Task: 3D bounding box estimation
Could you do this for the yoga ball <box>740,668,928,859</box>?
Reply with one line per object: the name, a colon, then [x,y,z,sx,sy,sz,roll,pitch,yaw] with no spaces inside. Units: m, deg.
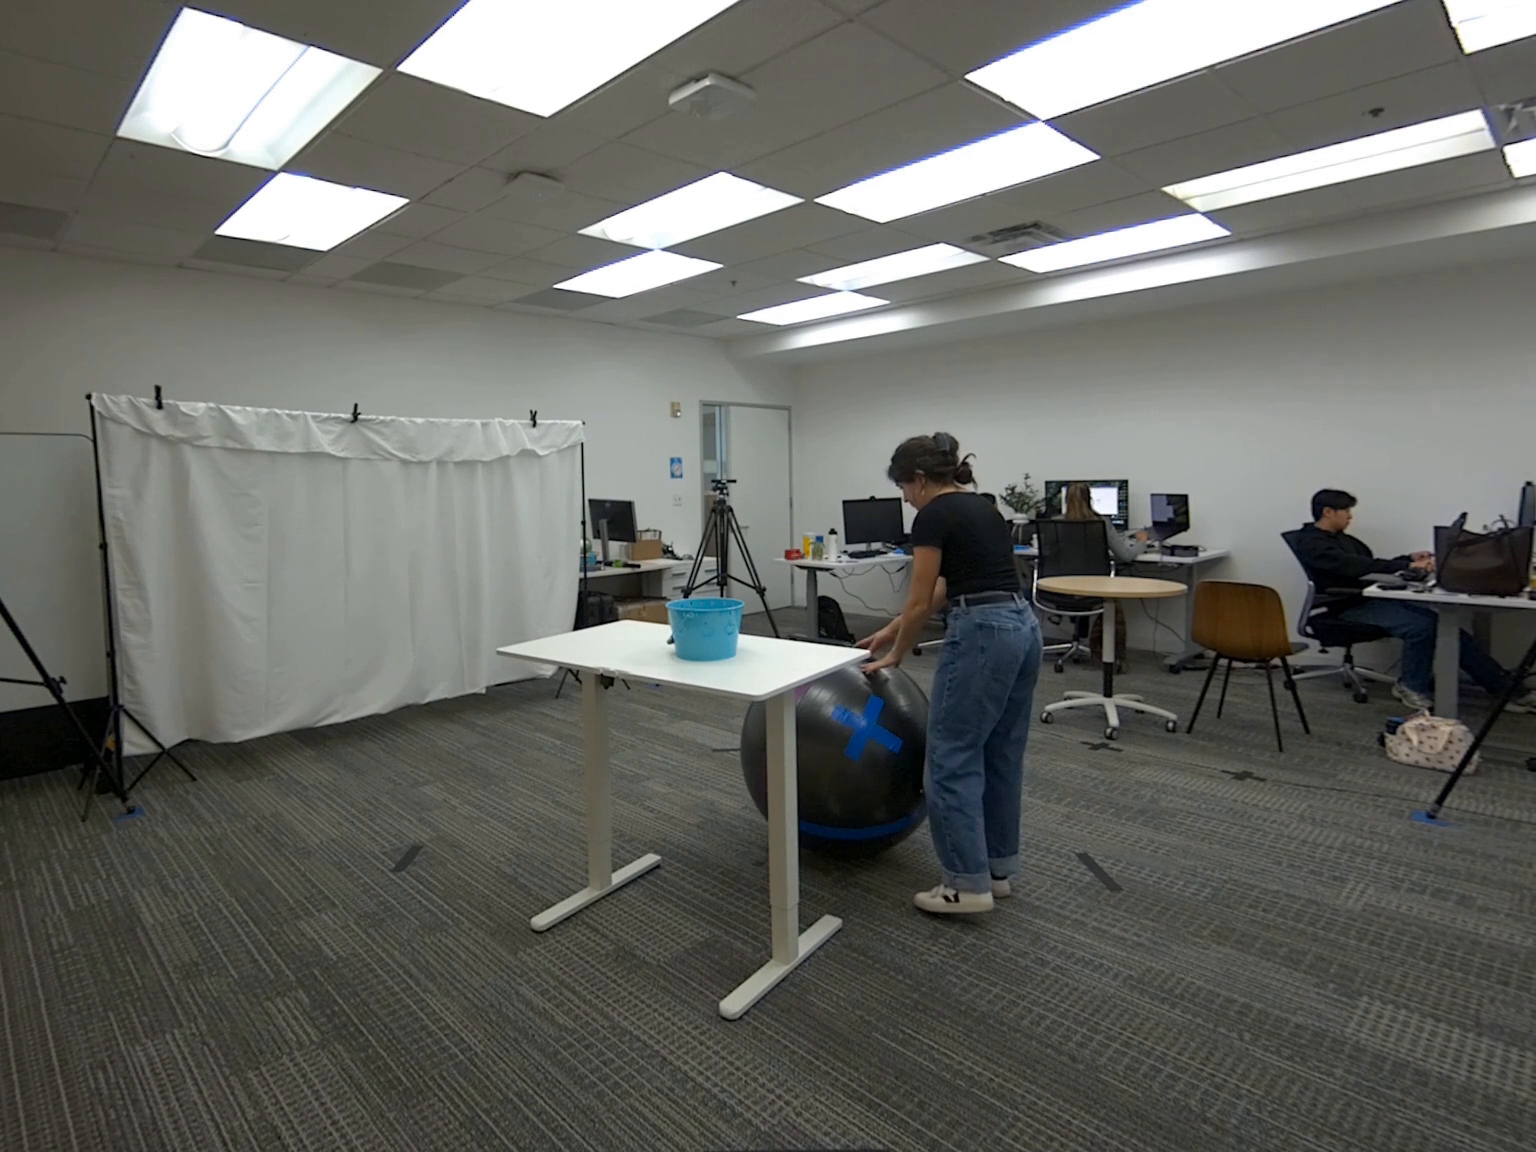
yoga ball: [0.275,0.666,3.207,0.757,0.755,0.762,-1,5,-2]
